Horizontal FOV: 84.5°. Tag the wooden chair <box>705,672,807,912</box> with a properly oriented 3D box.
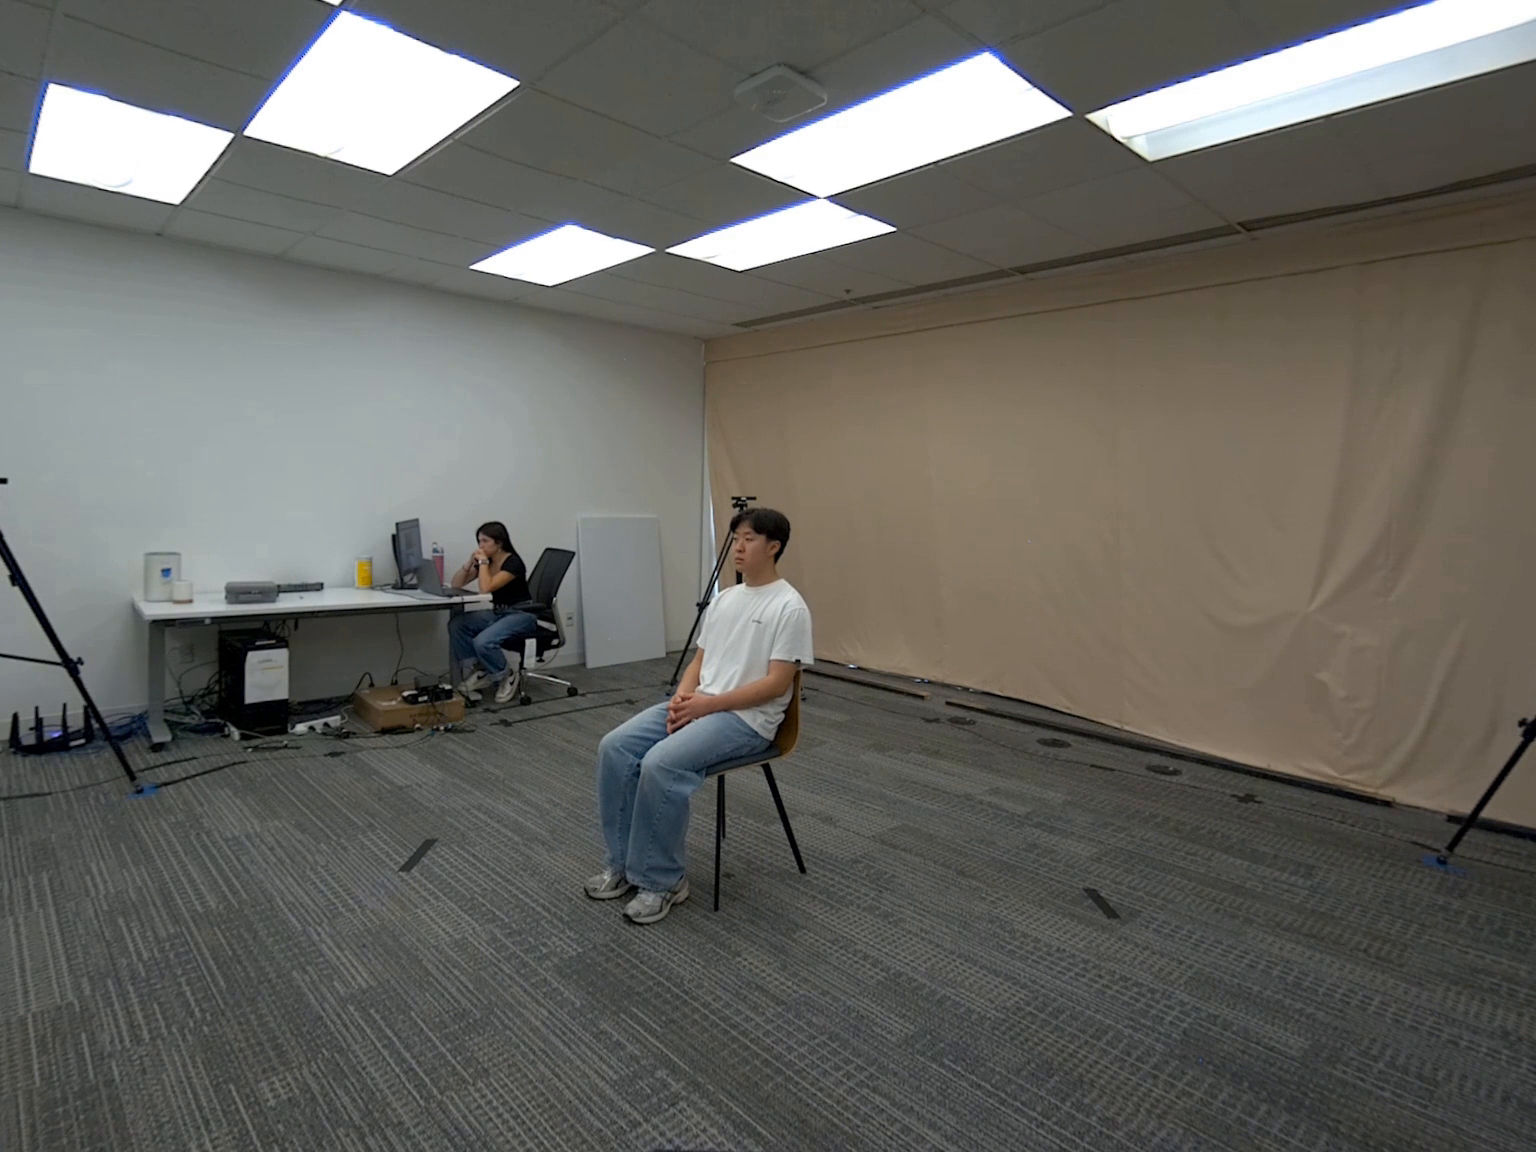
[{"bbox_3d":[-0.172,0.677,3.119,0.510,0.878,0.490,5,-1,-45],"label":"wooden chair"}]
